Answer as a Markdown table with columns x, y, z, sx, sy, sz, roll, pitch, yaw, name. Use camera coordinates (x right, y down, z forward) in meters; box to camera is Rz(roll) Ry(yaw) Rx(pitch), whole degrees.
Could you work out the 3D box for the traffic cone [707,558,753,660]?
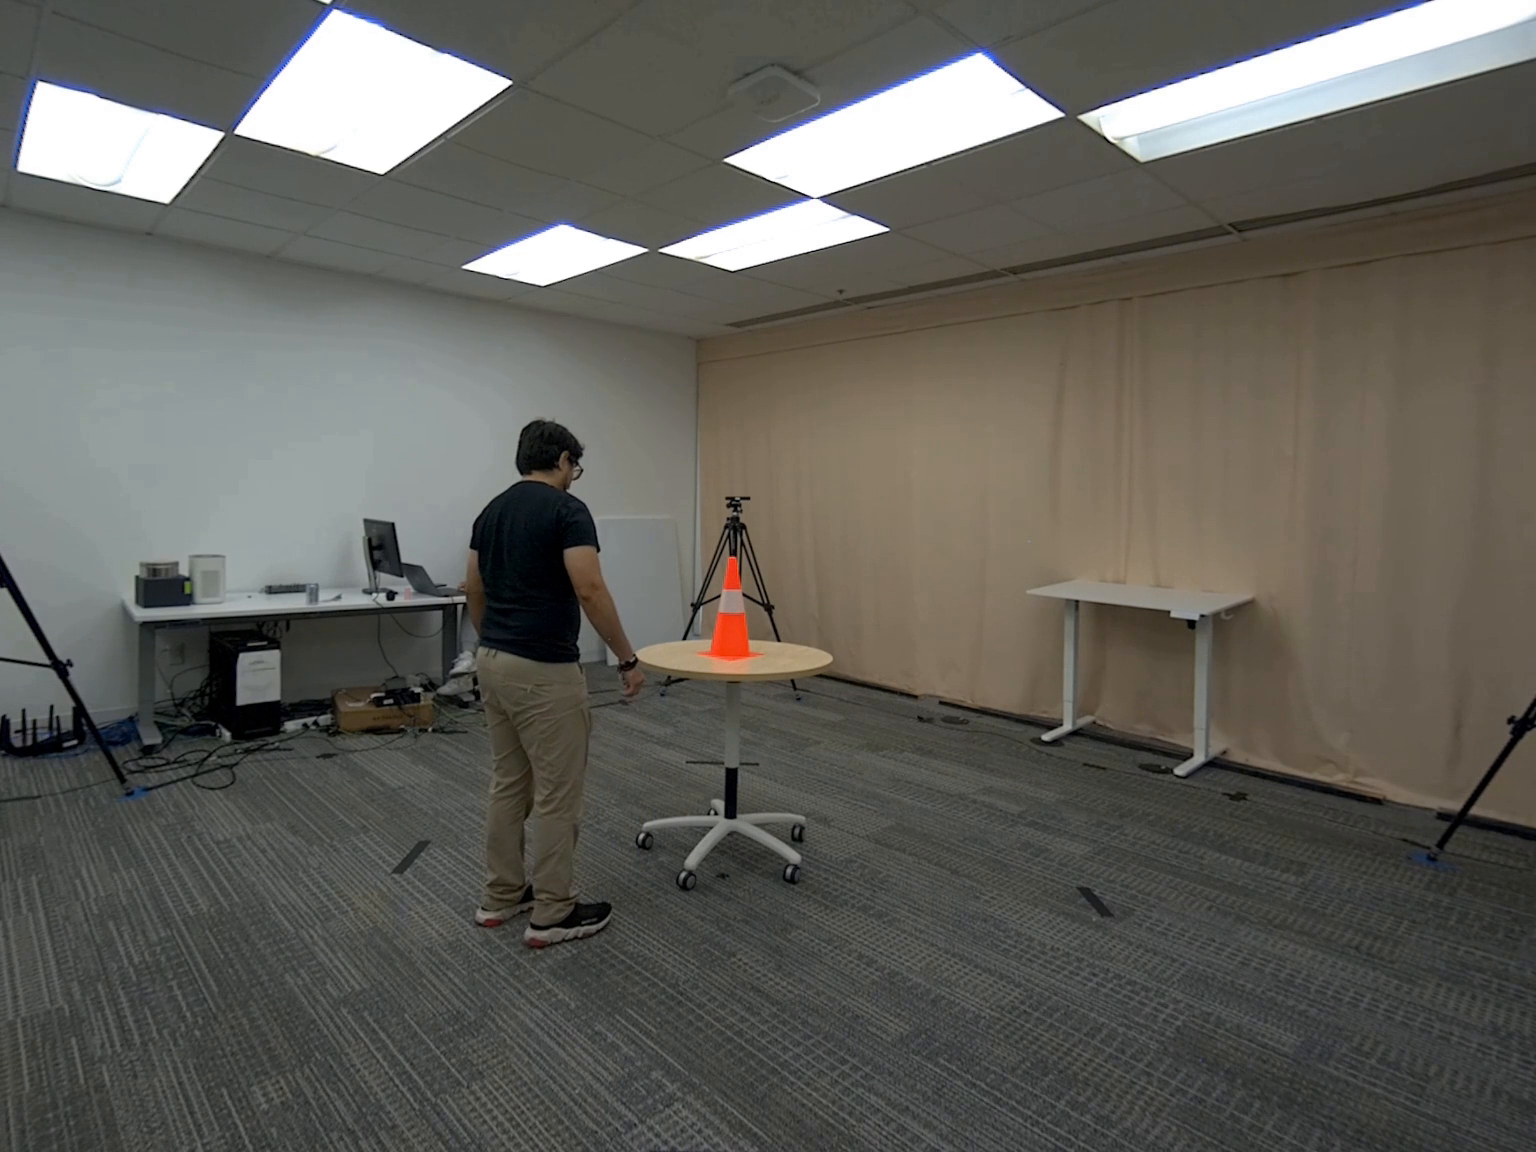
| x | y | z | sx | sy | sz | roll | pitch | yaw | name |
| --- | --- | --- | --- | --- | --- | --- | --- | --- | --- |
| -0.146 | 0.121 | 3.282 | 0.208 | 0.383 | 0.200 | 4 | 3 | 36 | traffic cone |
